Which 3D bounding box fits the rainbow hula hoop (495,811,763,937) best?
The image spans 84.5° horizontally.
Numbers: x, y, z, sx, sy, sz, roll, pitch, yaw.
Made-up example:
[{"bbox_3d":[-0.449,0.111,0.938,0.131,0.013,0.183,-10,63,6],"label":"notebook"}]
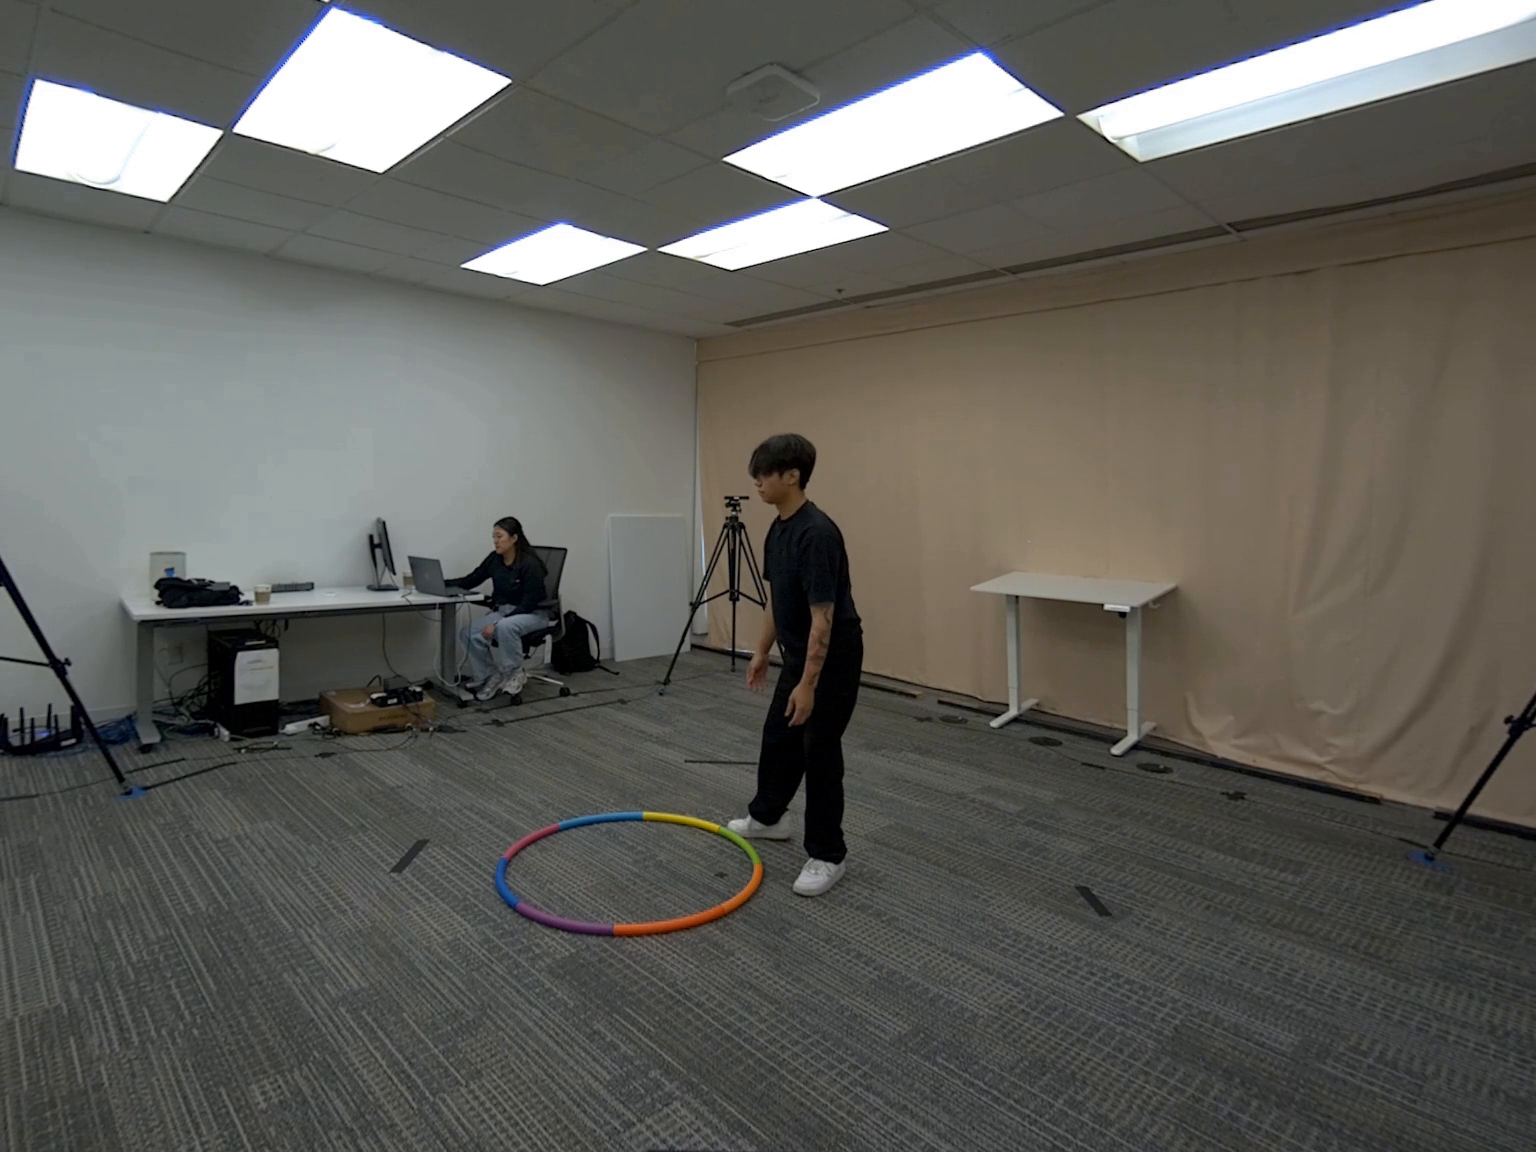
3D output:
[{"bbox_3d":[-0.511,1.063,3.136,0.978,0.035,0.982,2,5,-1],"label":"rainbow hula hoop"}]
